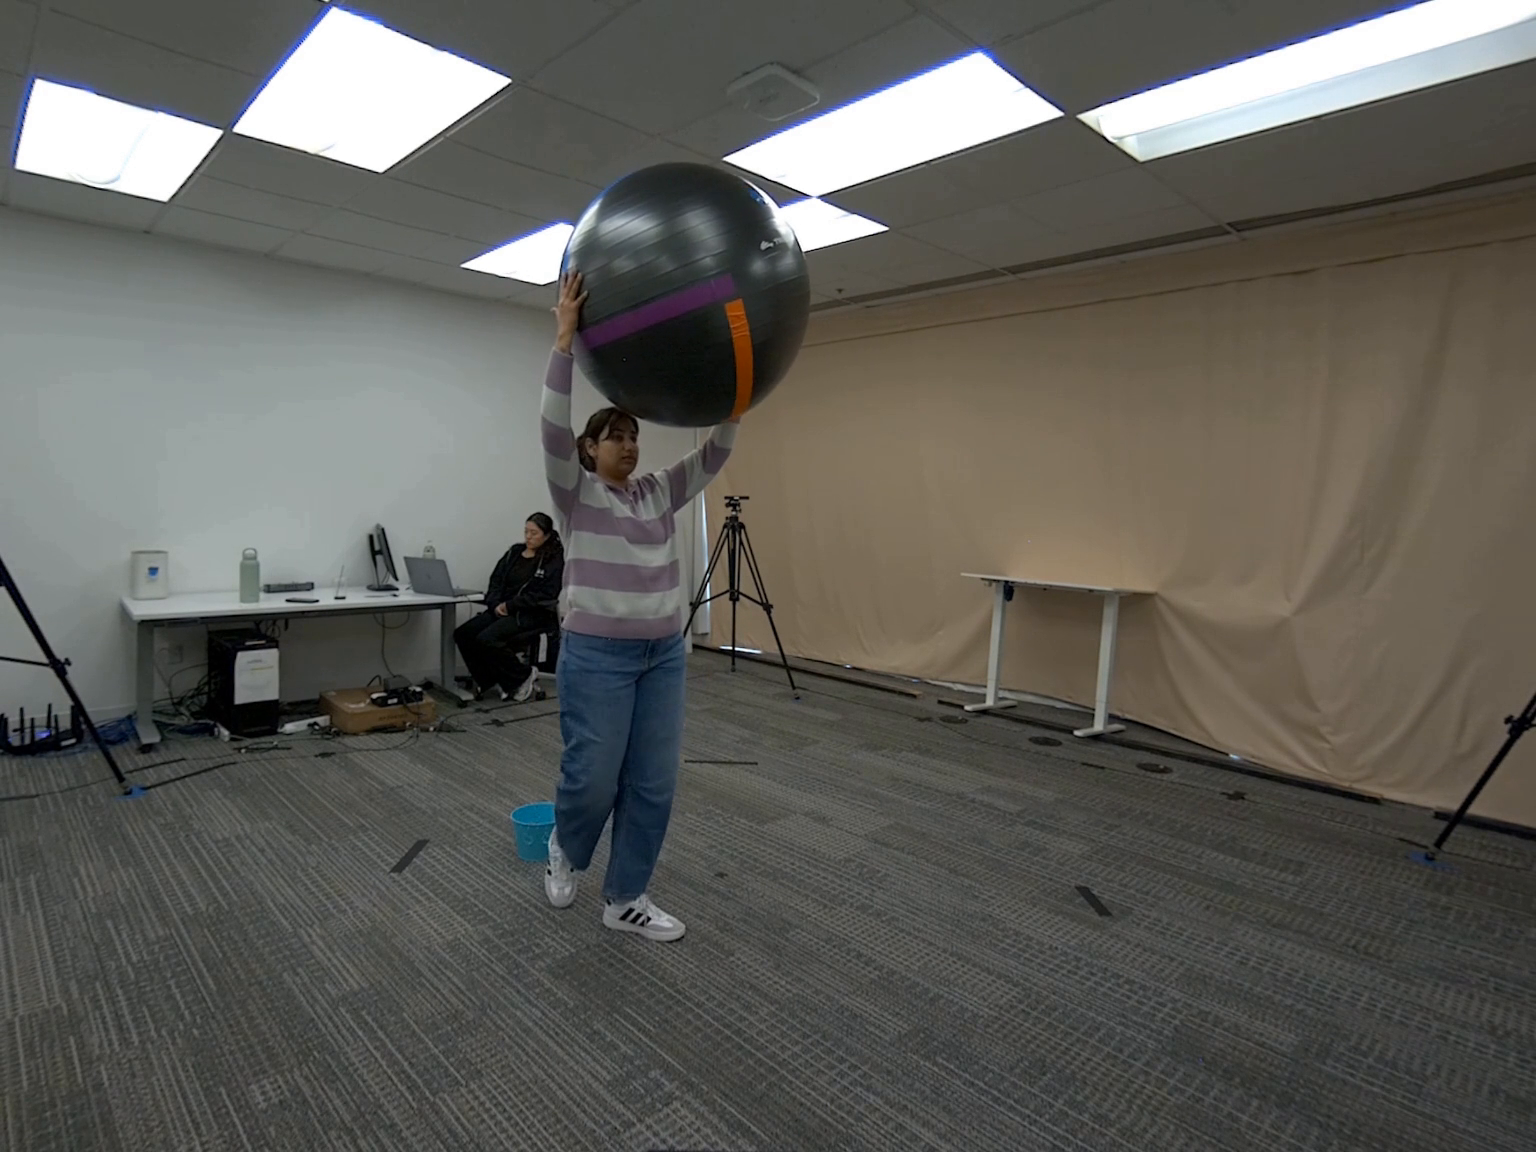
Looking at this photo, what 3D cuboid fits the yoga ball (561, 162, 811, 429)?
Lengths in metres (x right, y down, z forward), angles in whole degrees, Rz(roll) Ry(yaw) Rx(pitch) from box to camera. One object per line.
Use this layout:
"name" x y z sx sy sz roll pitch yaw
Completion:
"yoga ball" -0.256 -0.823 2.518 0.757 0.756 0.761 1 4 -1
